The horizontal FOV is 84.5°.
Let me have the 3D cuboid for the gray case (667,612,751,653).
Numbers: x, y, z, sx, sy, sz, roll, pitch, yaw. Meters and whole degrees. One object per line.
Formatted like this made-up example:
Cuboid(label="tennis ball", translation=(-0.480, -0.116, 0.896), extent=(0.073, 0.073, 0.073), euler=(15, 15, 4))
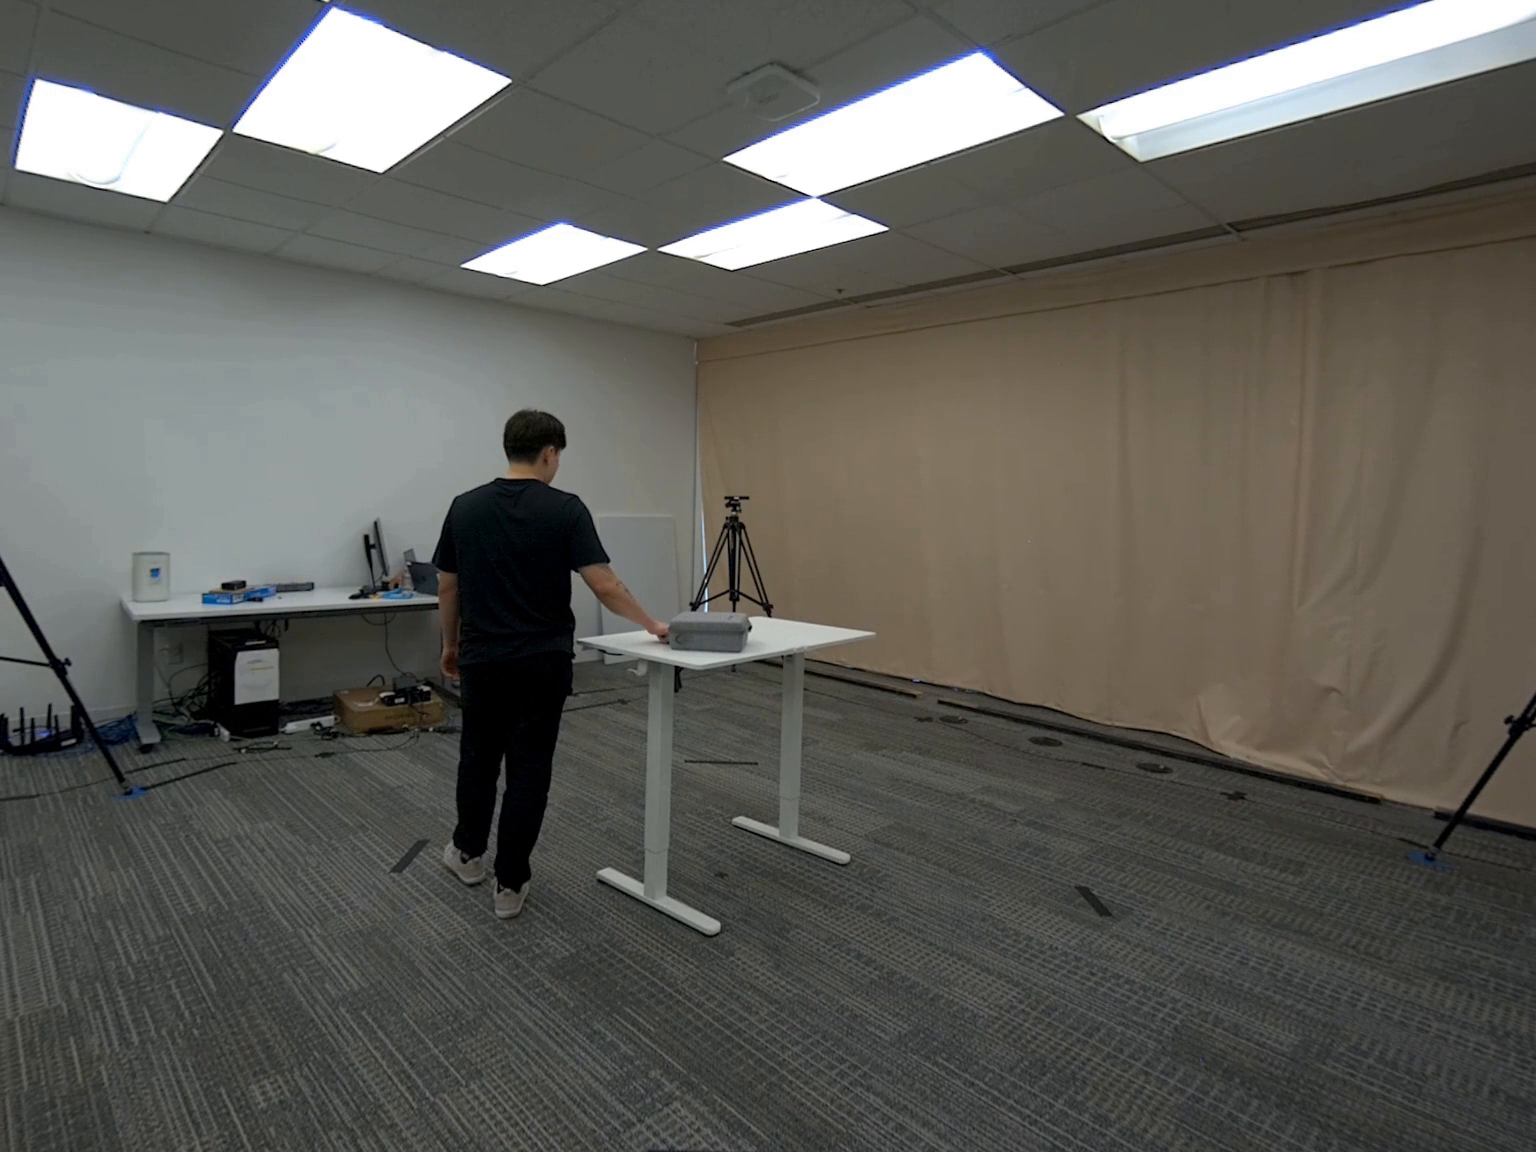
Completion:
Cuboid(label="gray case", translation=(-0.213, 0.185, 2.877), extent=(0.262, 0.104, 0.256), euler=(1, 5, 5))
